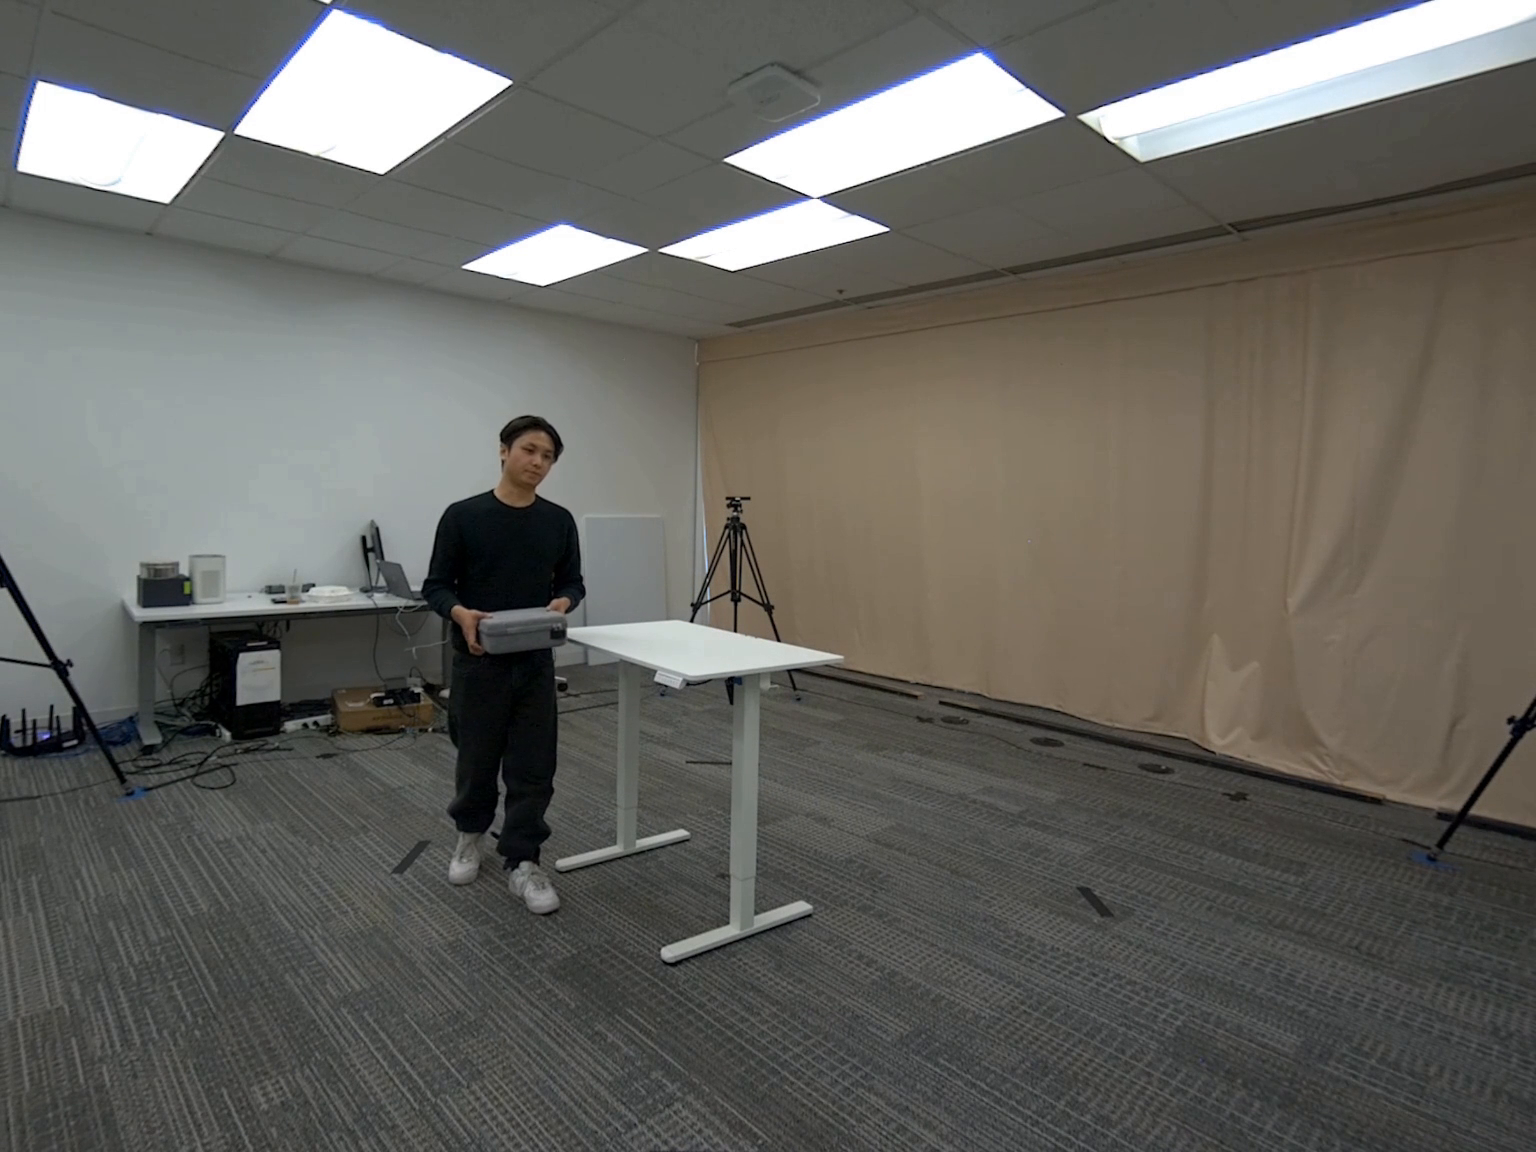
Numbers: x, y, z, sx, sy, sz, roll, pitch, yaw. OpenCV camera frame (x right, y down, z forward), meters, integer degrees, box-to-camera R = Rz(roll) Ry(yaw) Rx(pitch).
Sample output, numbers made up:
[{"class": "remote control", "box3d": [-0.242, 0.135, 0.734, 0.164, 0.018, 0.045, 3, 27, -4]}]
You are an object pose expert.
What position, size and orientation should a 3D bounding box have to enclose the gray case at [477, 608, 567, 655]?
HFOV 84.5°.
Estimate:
[{"class": "gray case", "box3d": [-0.812, 0.172, 2.681, 0.253, 0.104, 0.266, -6, 6, -26]}]
